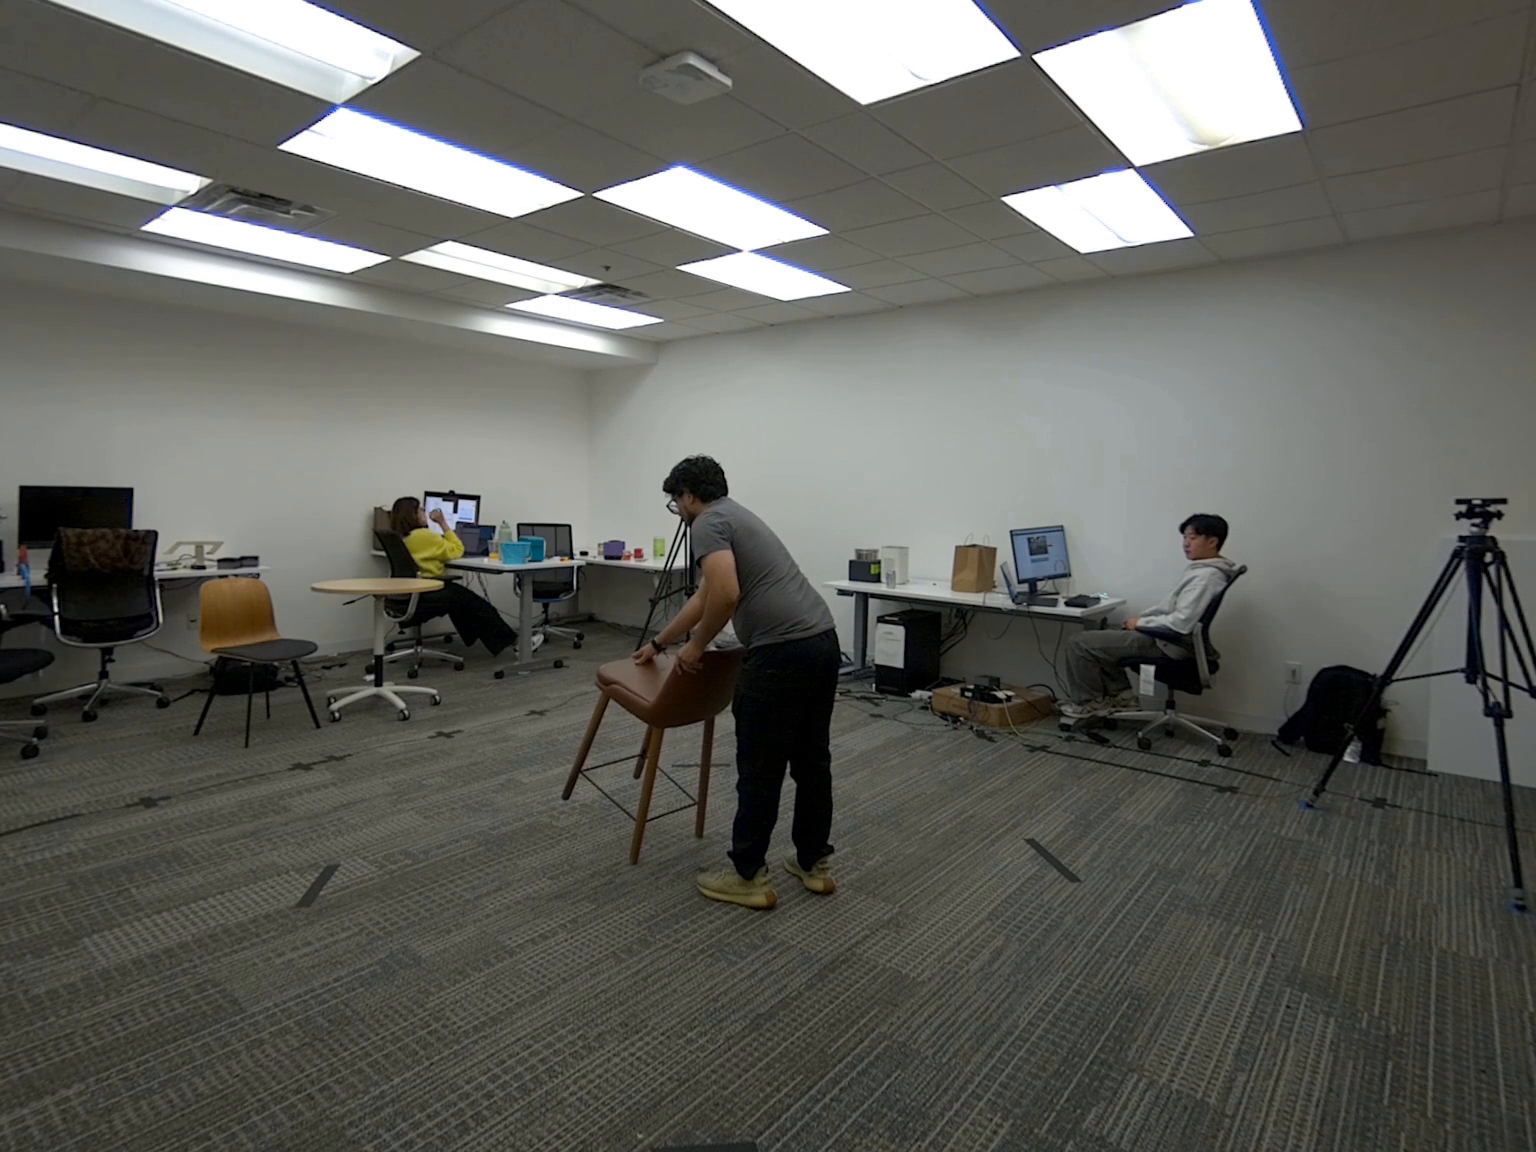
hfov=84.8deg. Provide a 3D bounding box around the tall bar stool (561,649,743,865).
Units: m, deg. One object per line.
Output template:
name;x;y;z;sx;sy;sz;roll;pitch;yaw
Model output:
tall bar stool;-0.436;0.570;3.300;0.487;0.881;0.442;29;20;37
